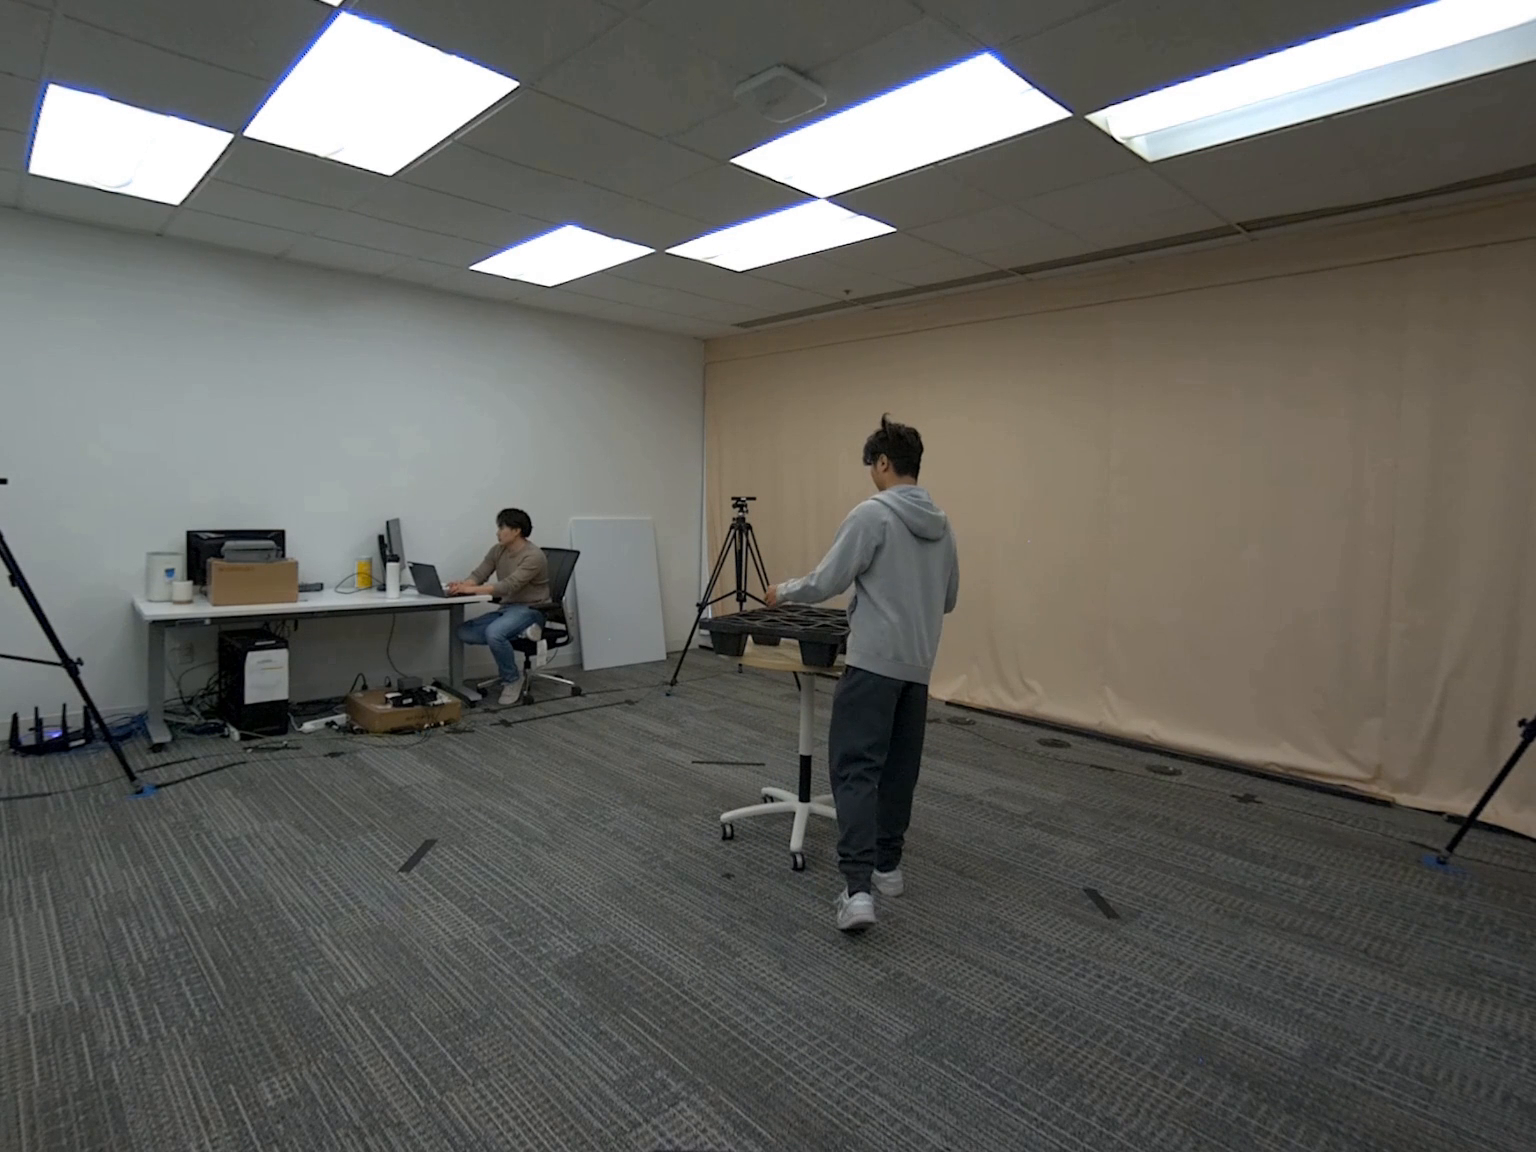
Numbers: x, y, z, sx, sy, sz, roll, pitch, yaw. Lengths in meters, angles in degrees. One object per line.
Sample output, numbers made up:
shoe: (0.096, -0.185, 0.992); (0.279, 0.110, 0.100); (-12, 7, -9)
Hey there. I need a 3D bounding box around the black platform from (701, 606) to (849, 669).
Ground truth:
black platform: (0.162, 0.230, 3.469); (0.618, 0.143, 0.791); (4, 5, 27)
